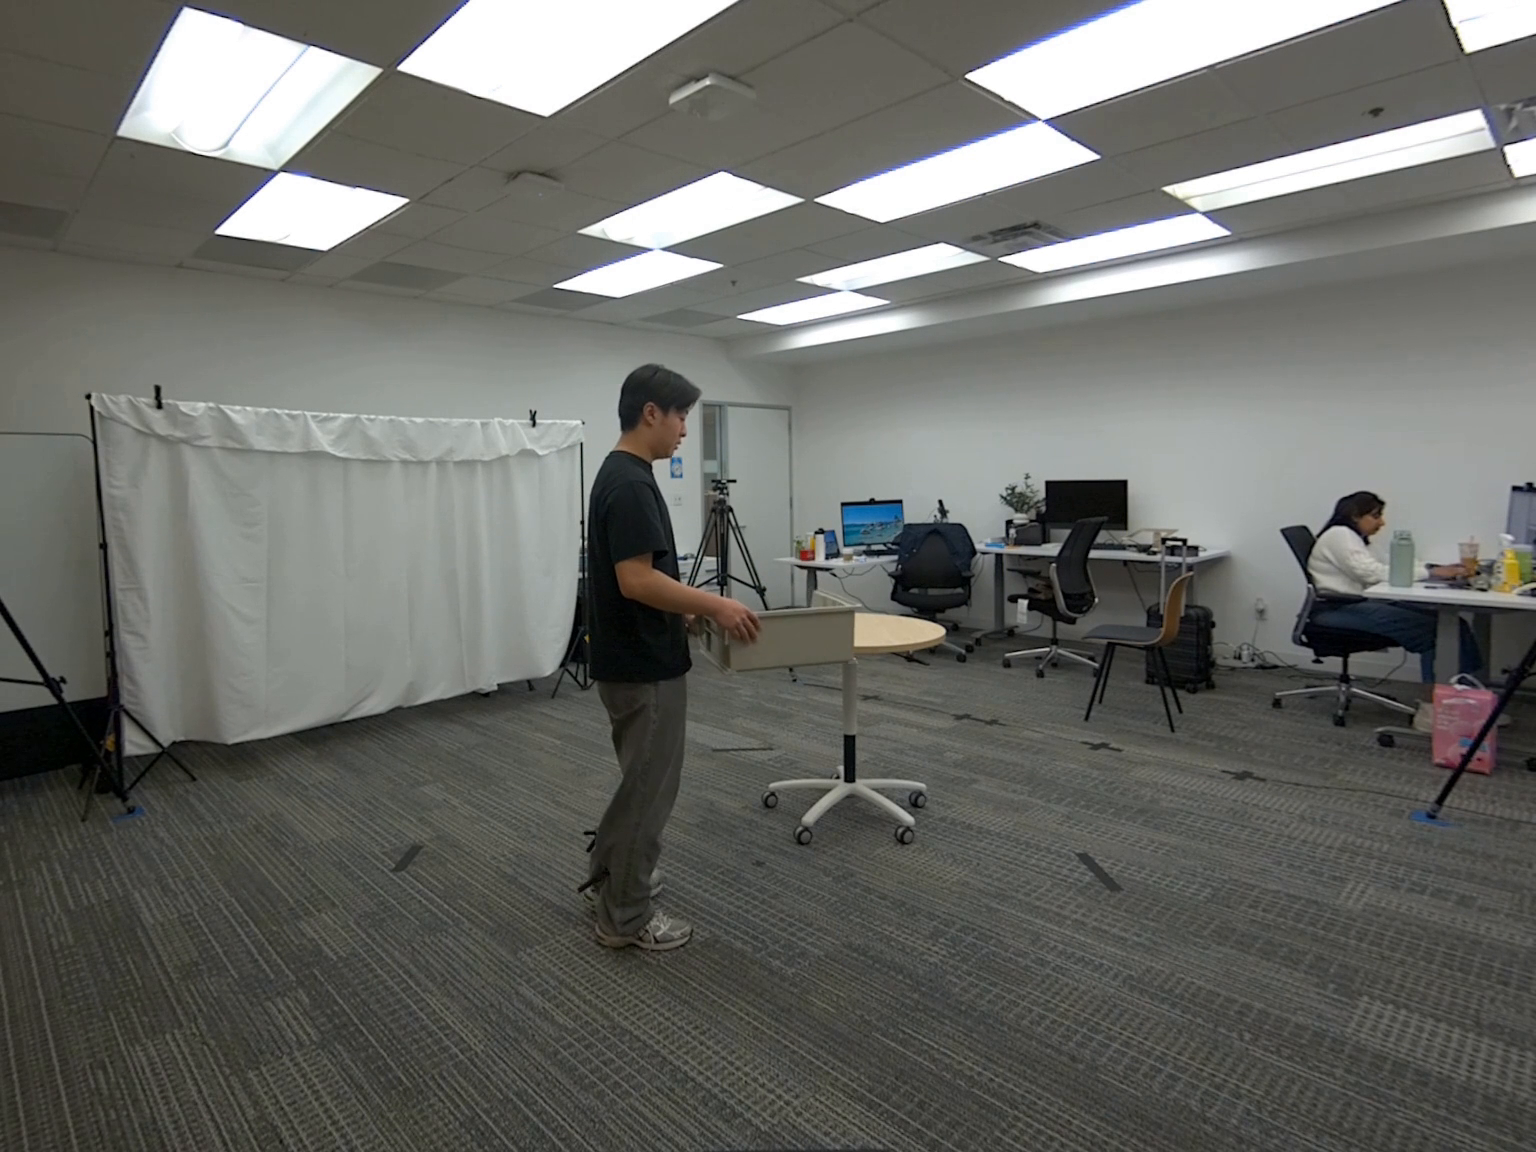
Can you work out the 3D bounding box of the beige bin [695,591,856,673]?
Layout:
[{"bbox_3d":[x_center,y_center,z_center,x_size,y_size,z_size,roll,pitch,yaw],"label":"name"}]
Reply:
[{"bbox_3d":[0.019,0.161,2.658,0.416,0.188,0.386,-3,9,-17],"label":"beige bin"}]
